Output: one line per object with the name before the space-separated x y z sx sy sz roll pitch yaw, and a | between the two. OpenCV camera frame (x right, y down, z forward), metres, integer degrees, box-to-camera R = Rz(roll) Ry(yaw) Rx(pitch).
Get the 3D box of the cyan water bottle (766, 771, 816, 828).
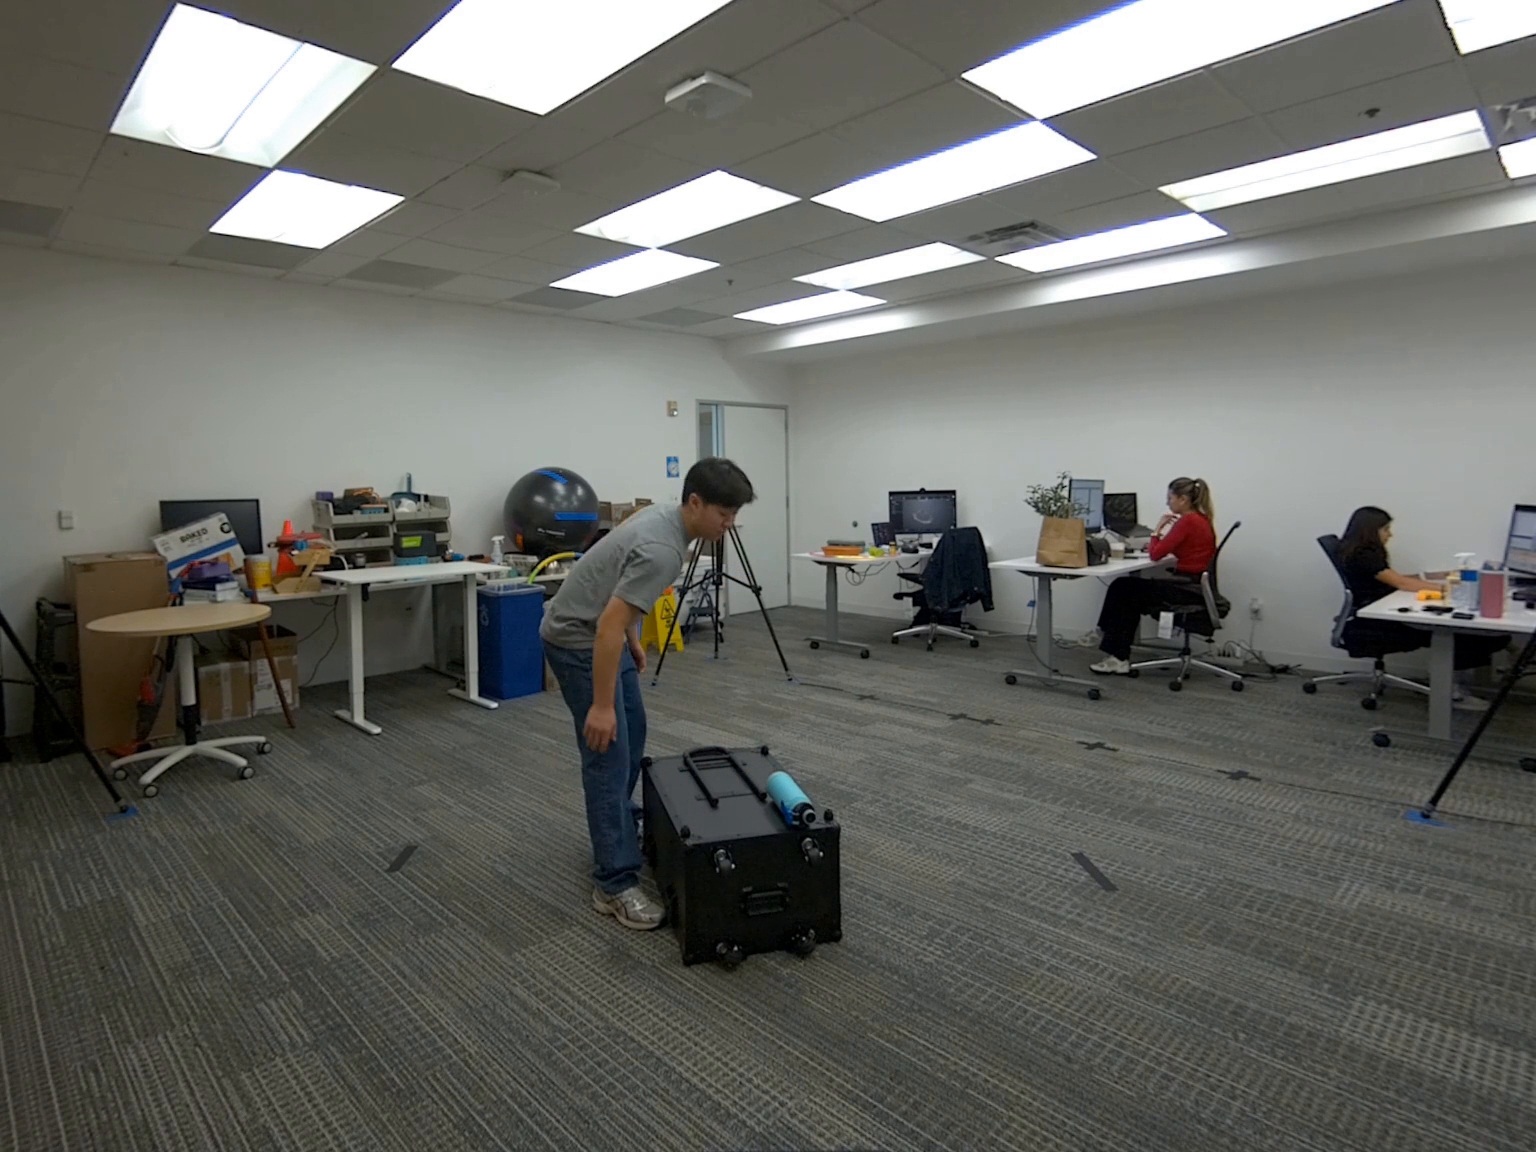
cyan water bottle | 0.075 0.692 2.633 0.091 0.092 0.288 -2 7 -14
